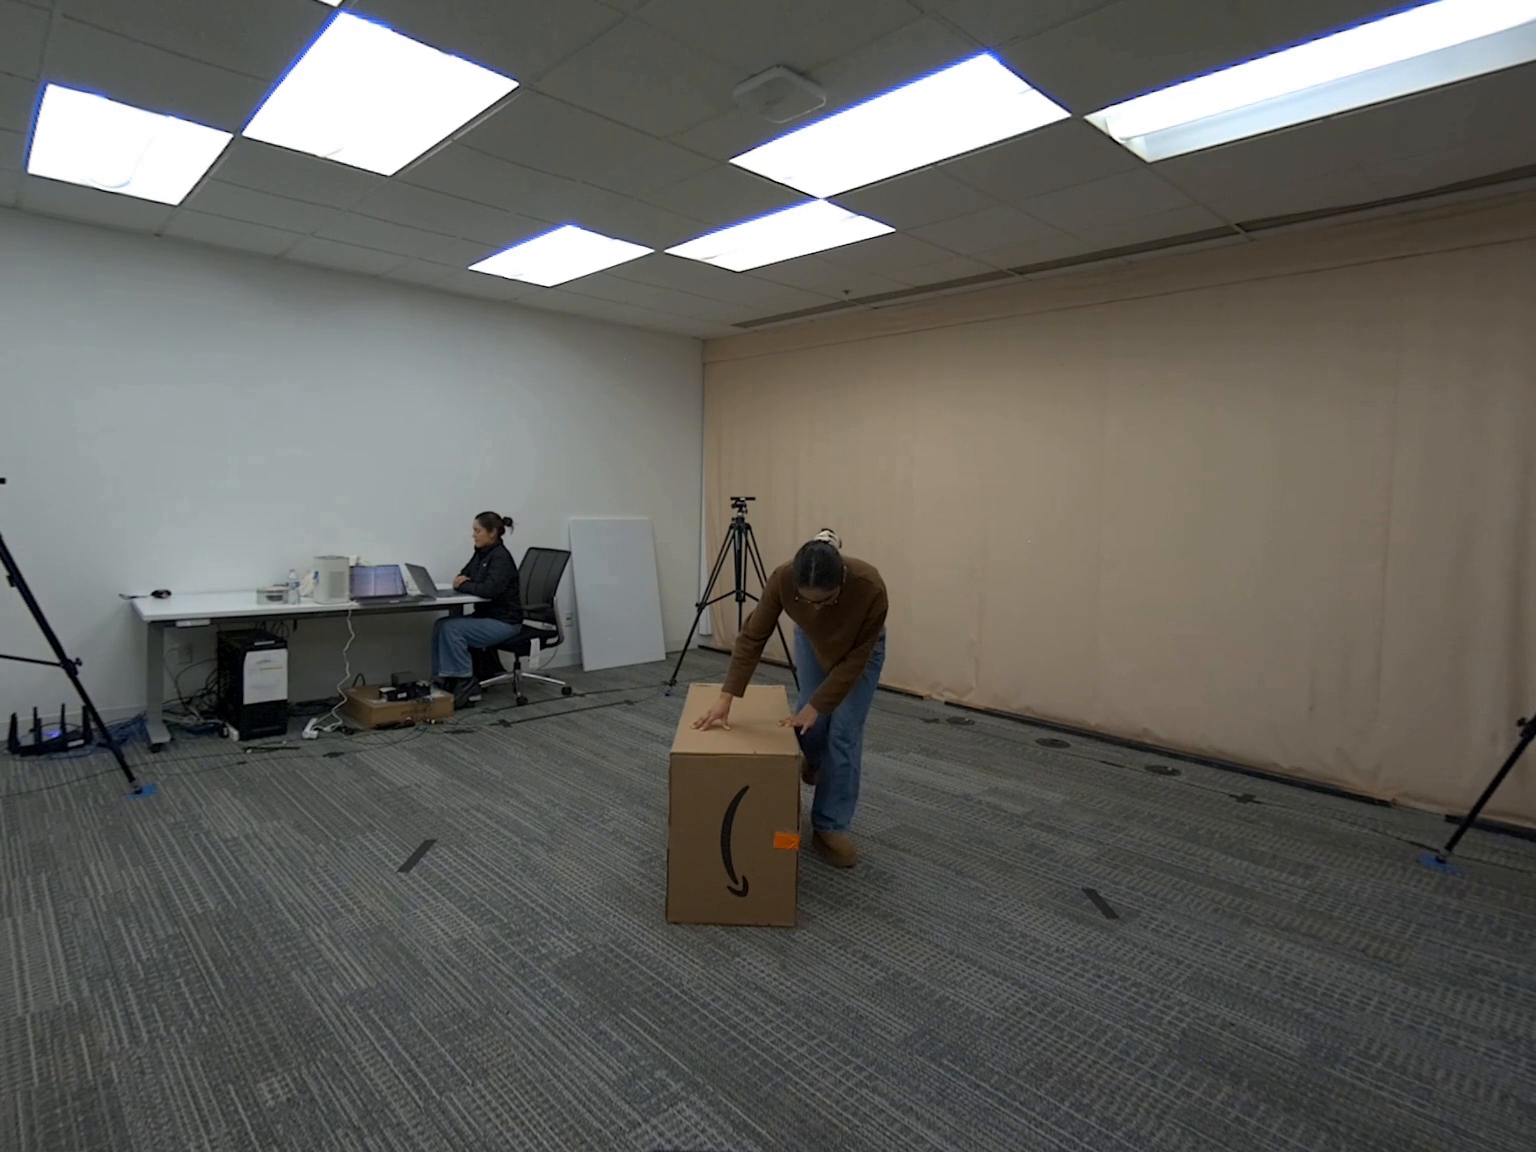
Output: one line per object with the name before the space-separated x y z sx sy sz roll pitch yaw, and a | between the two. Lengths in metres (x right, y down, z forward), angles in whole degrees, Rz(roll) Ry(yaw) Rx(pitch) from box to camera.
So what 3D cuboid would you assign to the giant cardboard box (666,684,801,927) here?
giant cardboard box | -0.133 0.810 3.231 0.447 0.582 1.030 0 5 -1
